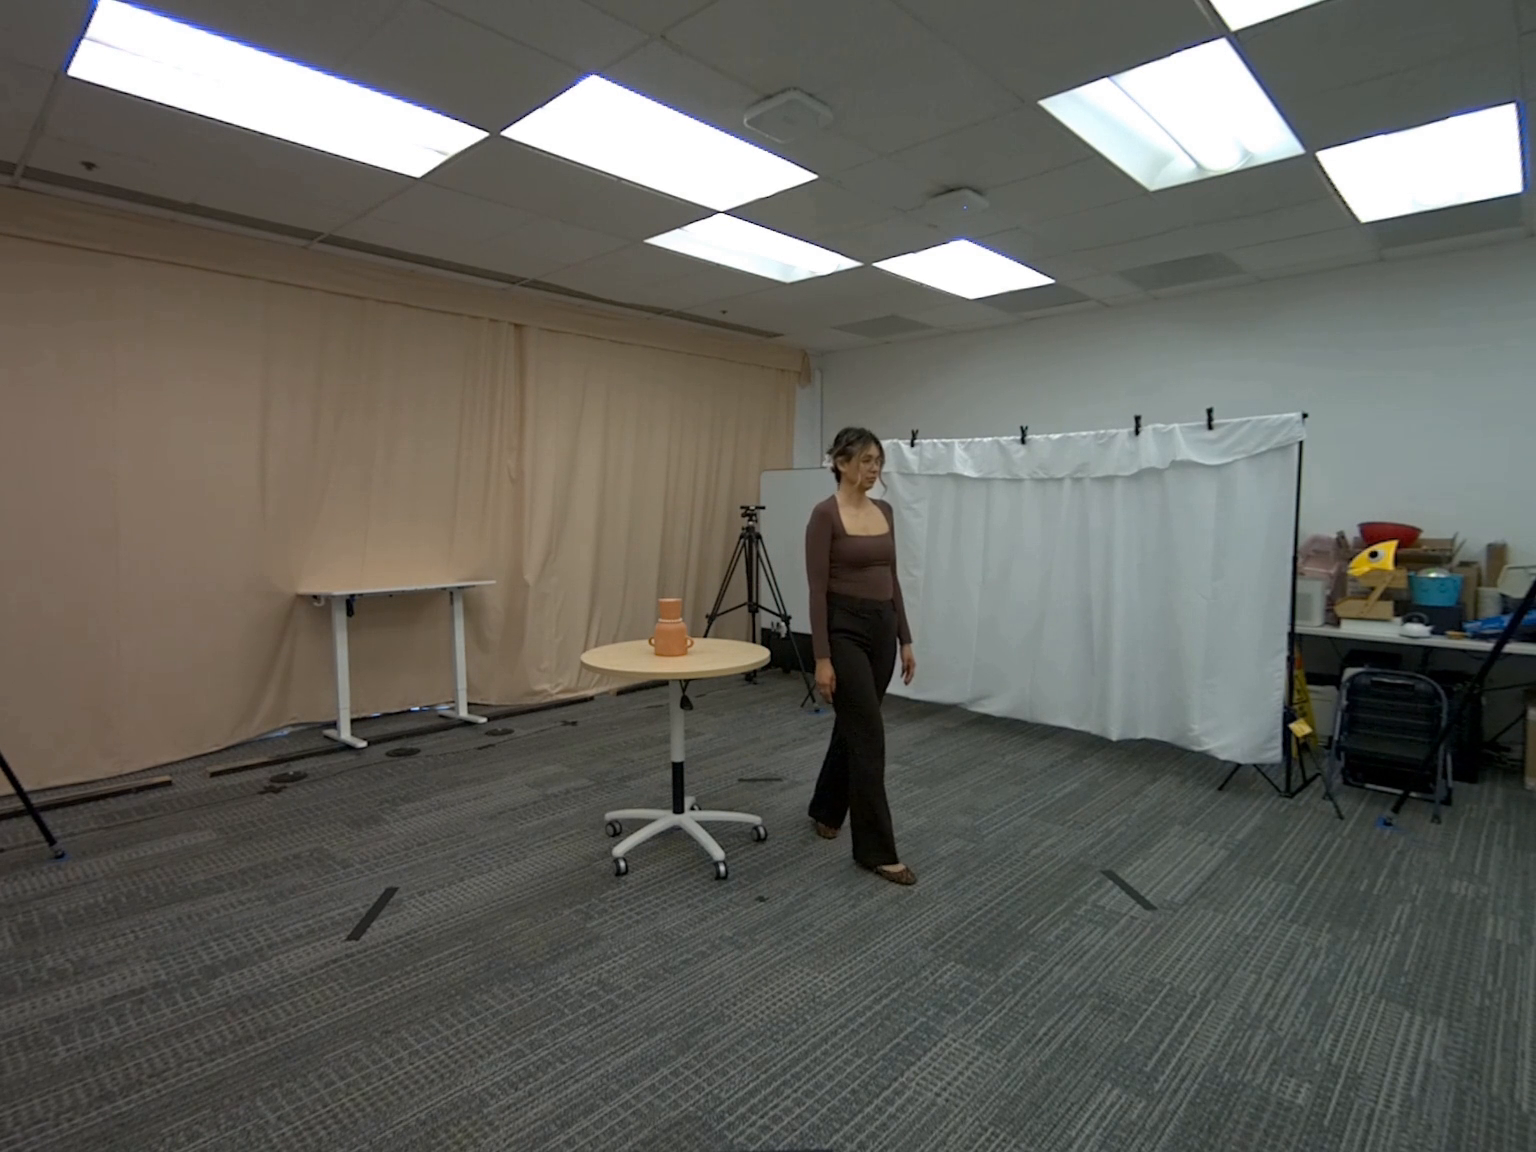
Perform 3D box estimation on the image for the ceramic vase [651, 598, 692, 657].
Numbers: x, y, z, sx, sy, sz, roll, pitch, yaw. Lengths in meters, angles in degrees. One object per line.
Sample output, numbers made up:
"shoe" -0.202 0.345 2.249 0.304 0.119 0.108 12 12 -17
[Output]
"ceramic vase" -0.389 0.207 3.409 0.155 0.219 0.138 -1 2 -21
